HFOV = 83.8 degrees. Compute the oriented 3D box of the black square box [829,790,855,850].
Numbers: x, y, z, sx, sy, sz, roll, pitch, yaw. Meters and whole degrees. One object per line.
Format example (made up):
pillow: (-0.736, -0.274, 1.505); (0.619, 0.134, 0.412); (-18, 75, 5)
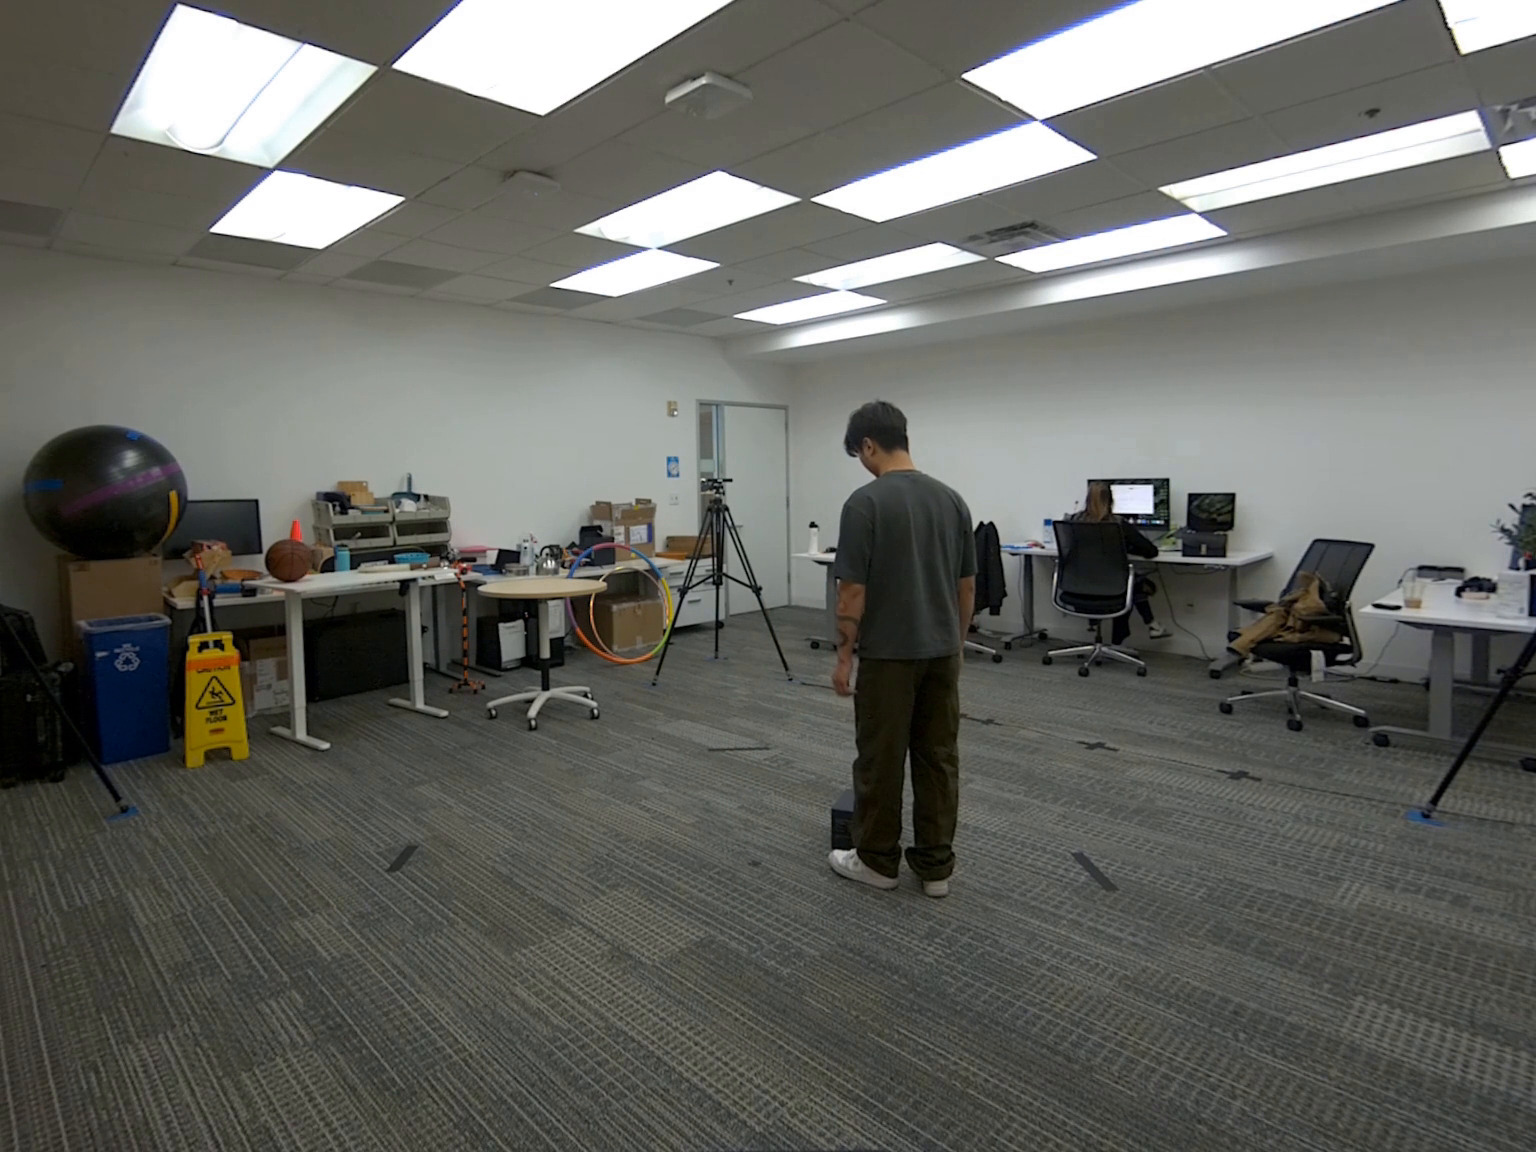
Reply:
black square box: (0.380, 0.936, 3.274); (0.221, 0.155, 0.224); (1, 6, 21)
